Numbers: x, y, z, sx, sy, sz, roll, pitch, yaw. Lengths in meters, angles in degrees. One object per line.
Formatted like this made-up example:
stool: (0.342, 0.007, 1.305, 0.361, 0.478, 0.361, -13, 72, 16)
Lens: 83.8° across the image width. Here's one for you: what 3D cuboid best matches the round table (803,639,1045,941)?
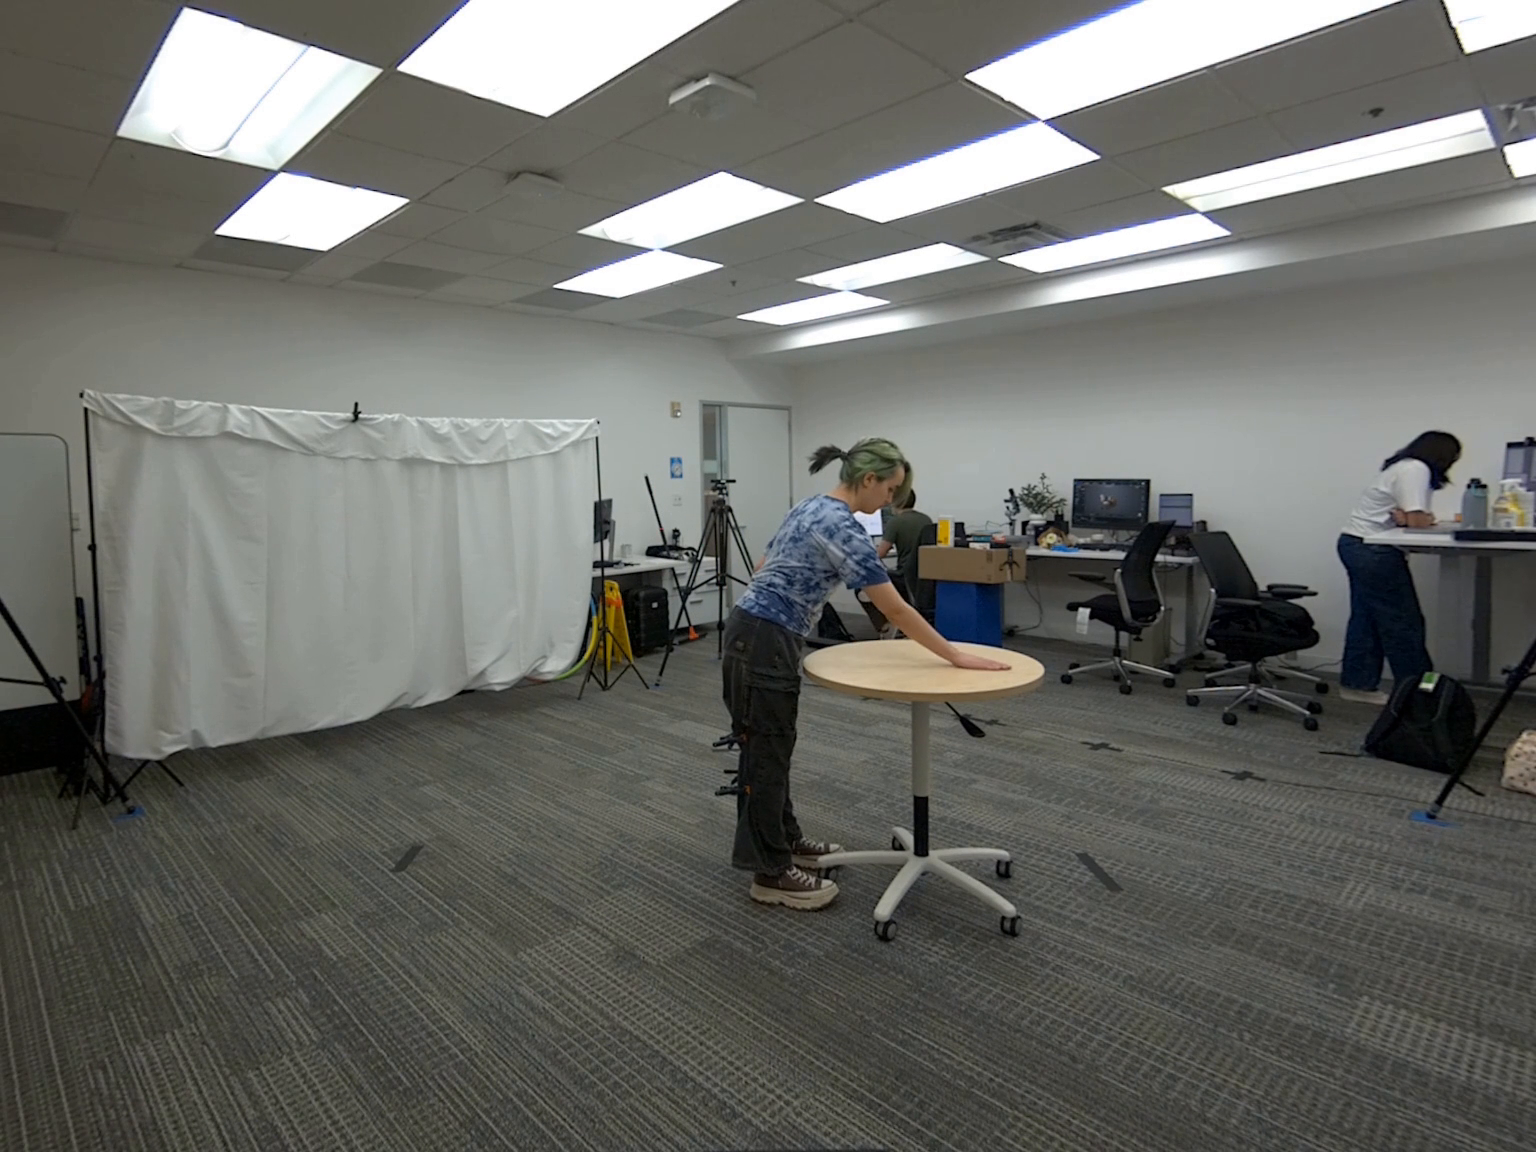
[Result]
round table: (0.495, 0.674, 2.819, 0.784, 0.783, 0.789, -1, 5, -2)
